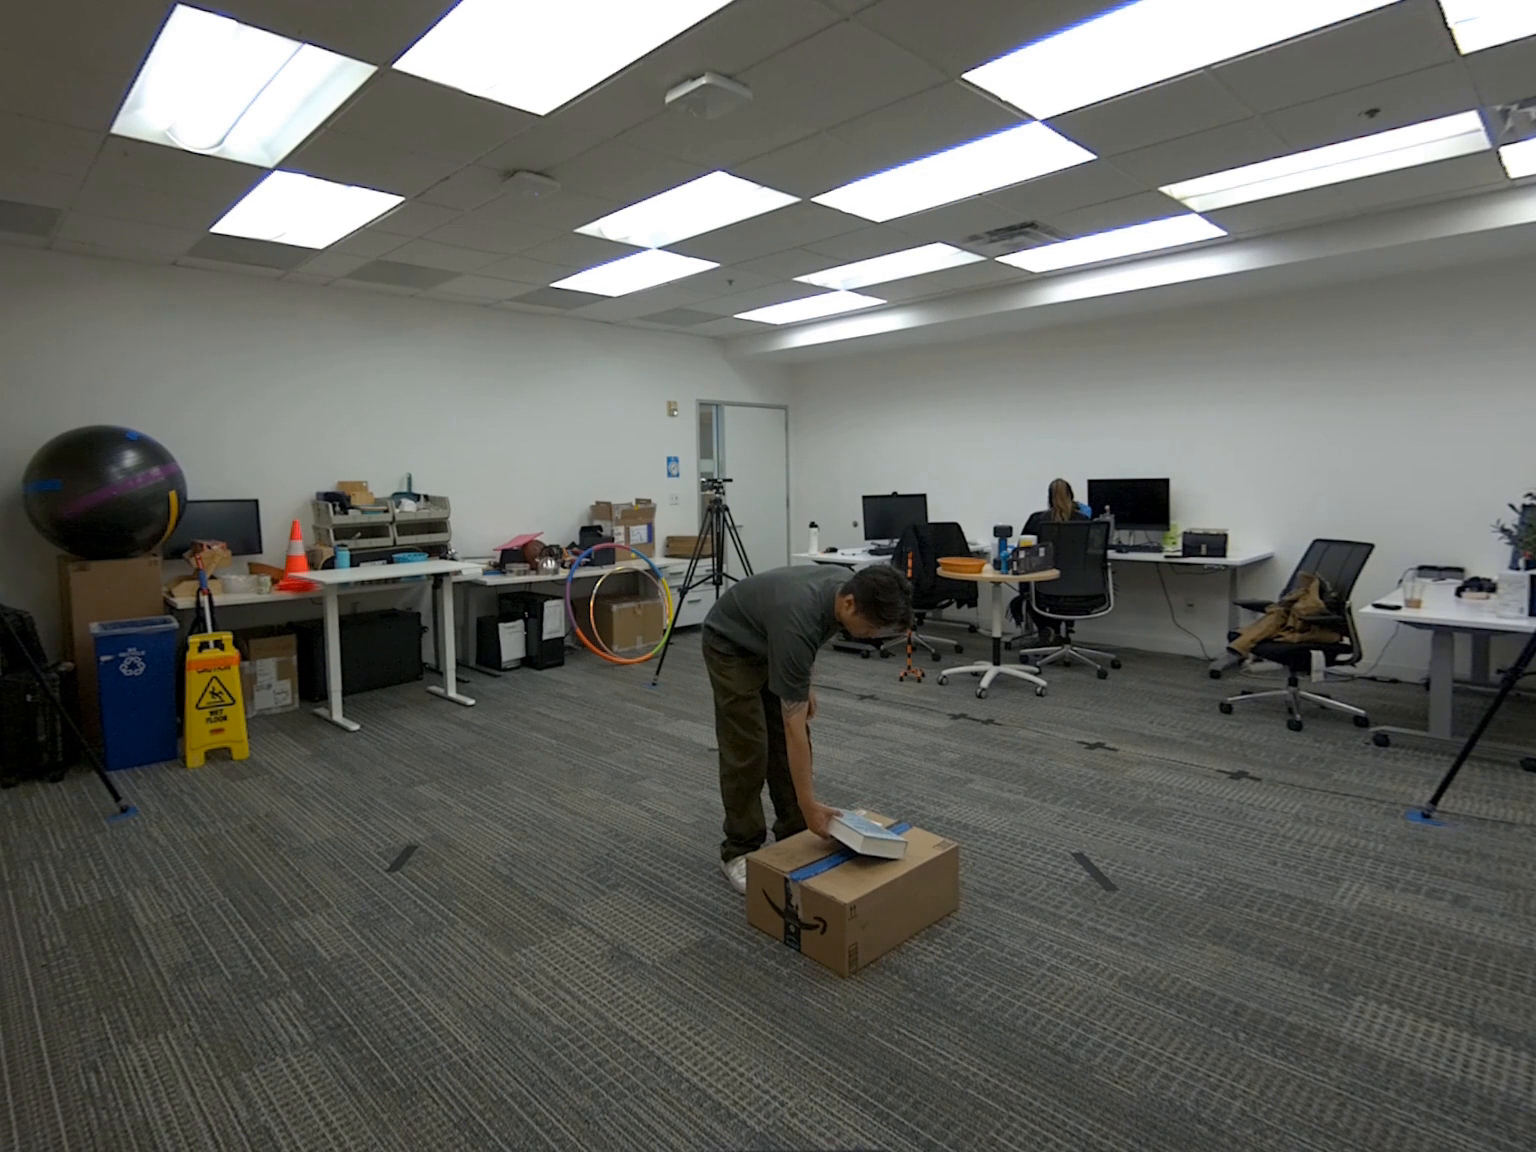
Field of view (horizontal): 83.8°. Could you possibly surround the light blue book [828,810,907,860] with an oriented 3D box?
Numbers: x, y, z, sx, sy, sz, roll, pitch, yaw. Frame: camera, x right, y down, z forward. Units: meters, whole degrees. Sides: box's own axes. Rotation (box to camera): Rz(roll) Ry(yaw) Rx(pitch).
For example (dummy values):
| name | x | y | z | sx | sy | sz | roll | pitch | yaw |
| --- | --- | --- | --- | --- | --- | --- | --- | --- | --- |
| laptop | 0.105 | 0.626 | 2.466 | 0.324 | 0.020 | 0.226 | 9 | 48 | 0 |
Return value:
| name | x | y | z | sx | sy | sz | roll | pitch | yaw |
| --- | --- | --- | --- | --- | --- | --- | --- | --- | --- |
| light blue book | 0.291 | 0.806 | 2.722 | 0.186 | 0.059 | 0.268 | 18 | -3 | -29 |
